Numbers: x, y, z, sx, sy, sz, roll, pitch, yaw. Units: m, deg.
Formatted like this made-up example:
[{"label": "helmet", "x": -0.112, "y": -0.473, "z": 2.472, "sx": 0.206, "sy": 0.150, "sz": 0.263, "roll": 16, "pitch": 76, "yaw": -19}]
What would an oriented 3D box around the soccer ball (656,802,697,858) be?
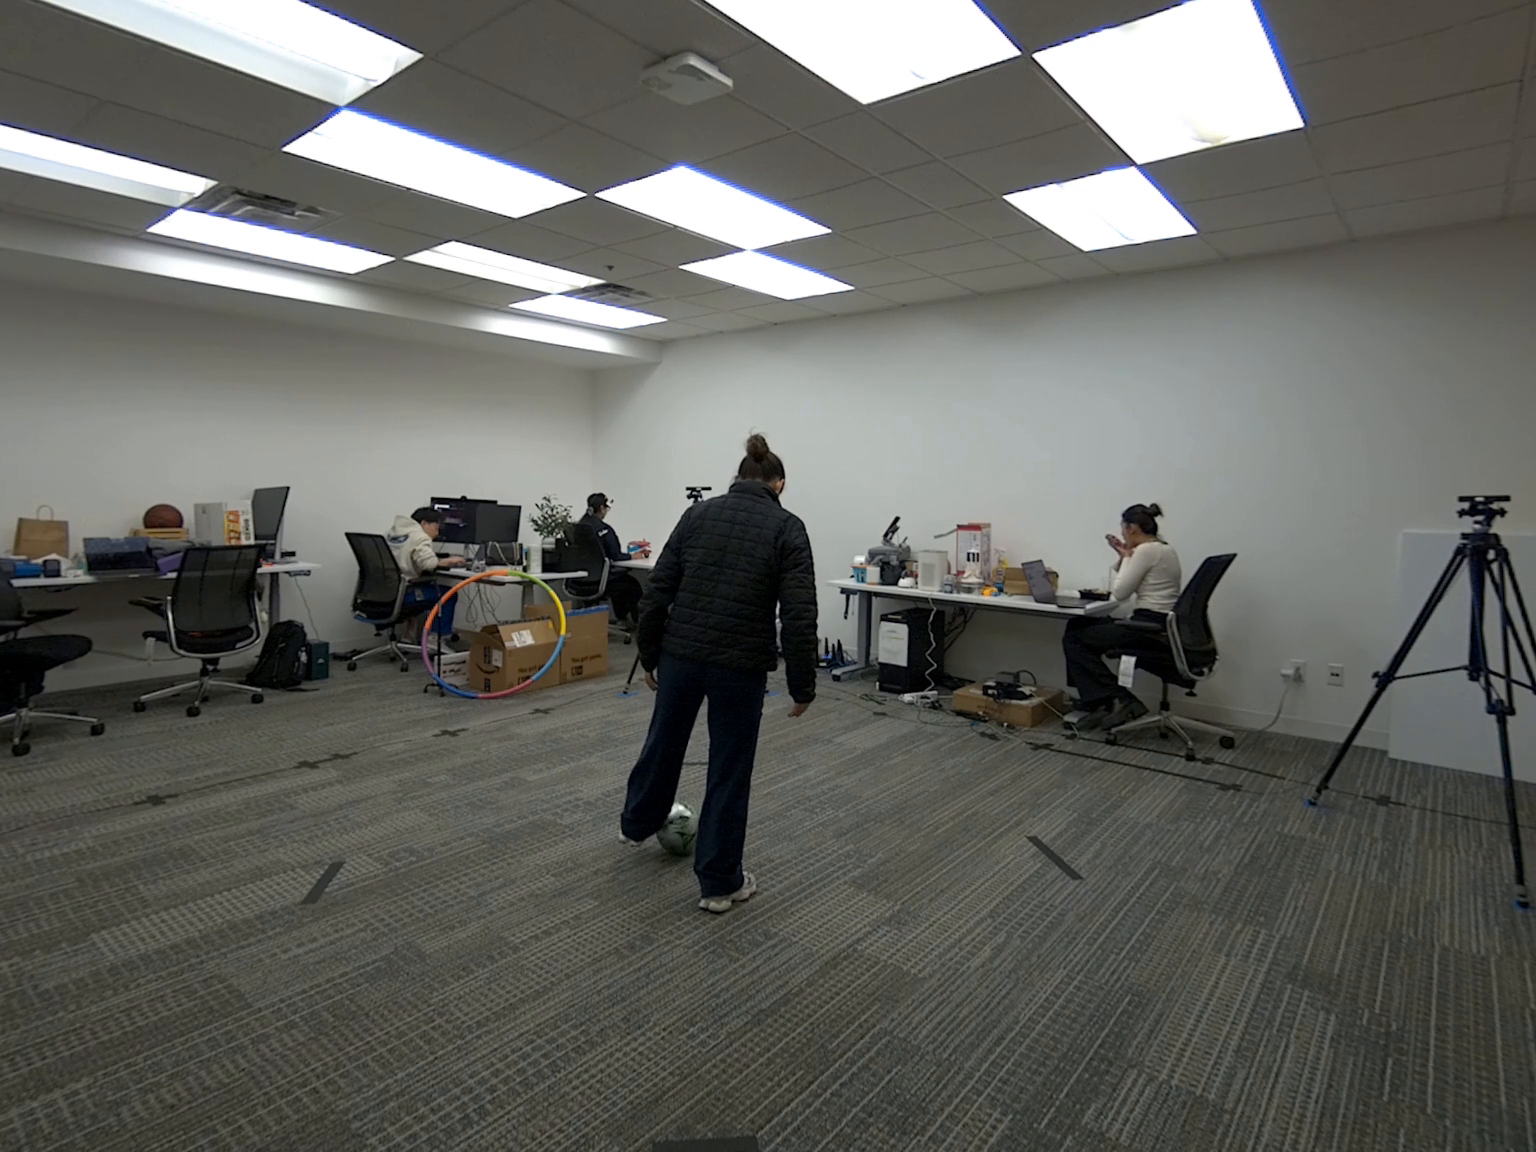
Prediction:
[{"label": "soccer ball", "x": -0.332, "y": 0.961, "z": 3.231, "sx": 0.187, "sy": 0.187, "sz": 0.188, "roll": 1, "pitch": 4, "yaw": -2}]
